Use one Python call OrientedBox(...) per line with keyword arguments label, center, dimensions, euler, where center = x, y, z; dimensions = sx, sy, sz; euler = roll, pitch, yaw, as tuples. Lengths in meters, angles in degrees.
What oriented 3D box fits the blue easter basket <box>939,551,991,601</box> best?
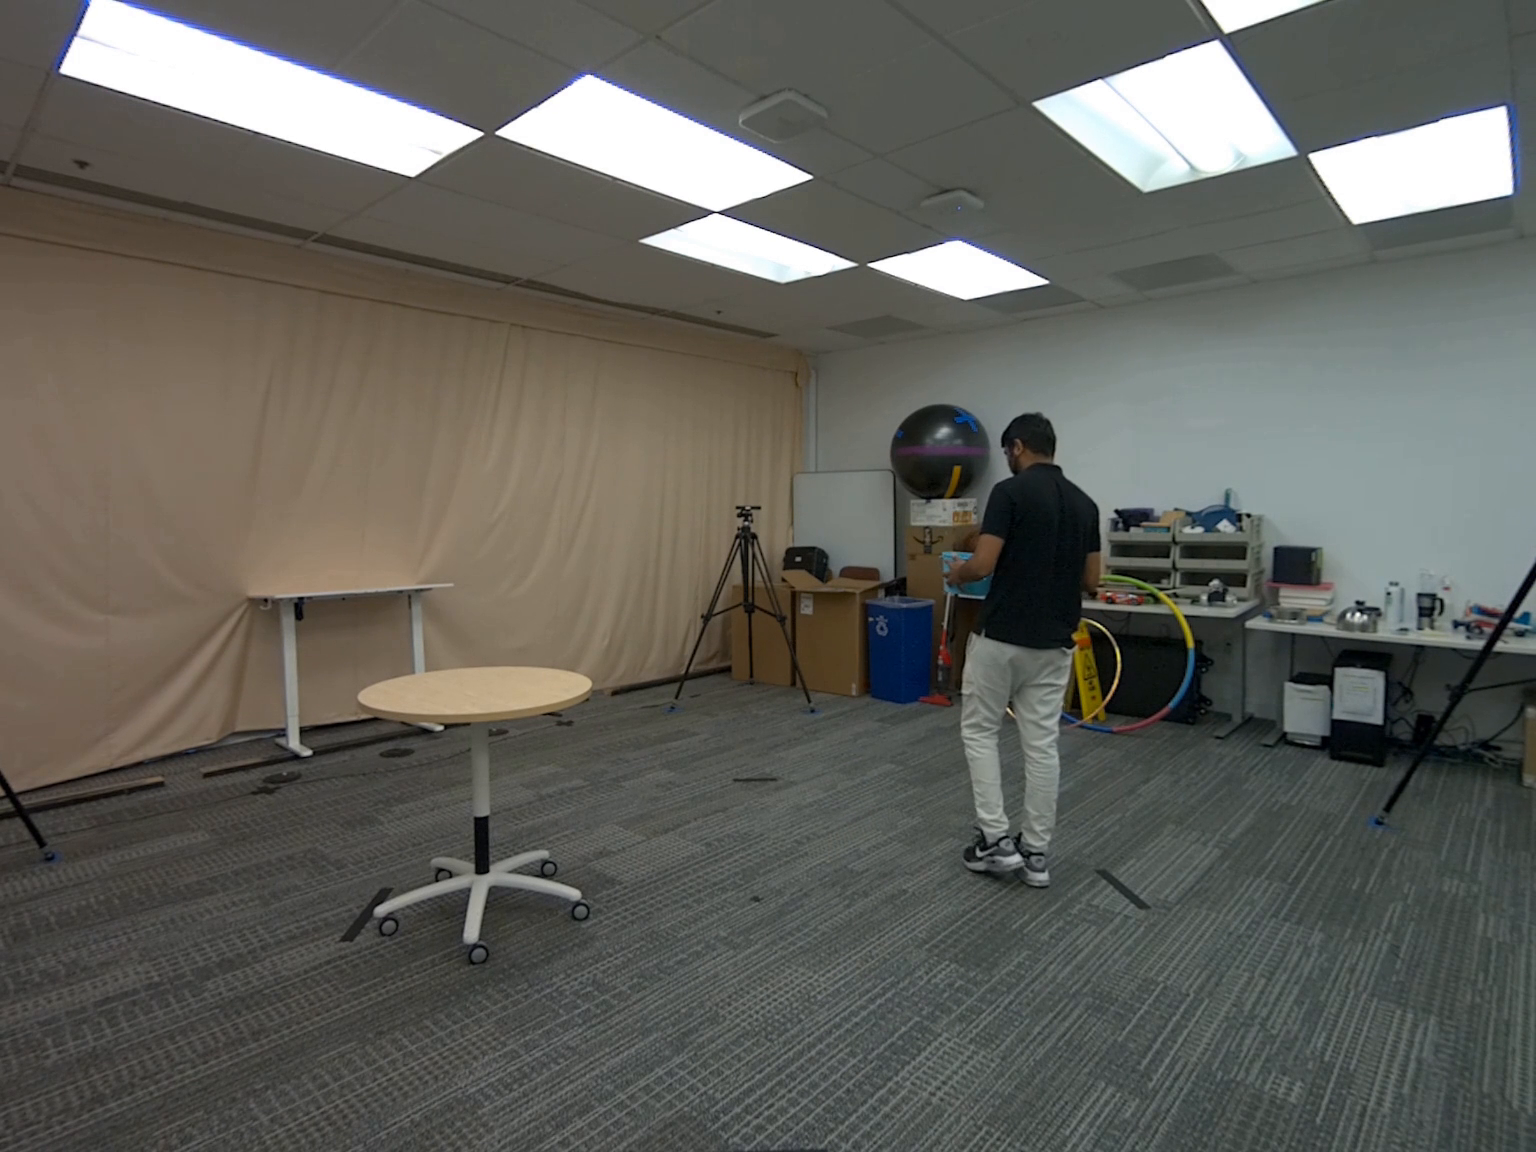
OrientedBox(label="blue easter basket", center=(0.848, -0.002, 3.478), dimensions=(0.243, 0.155, 0.245), euler=(5, 8, -3))
